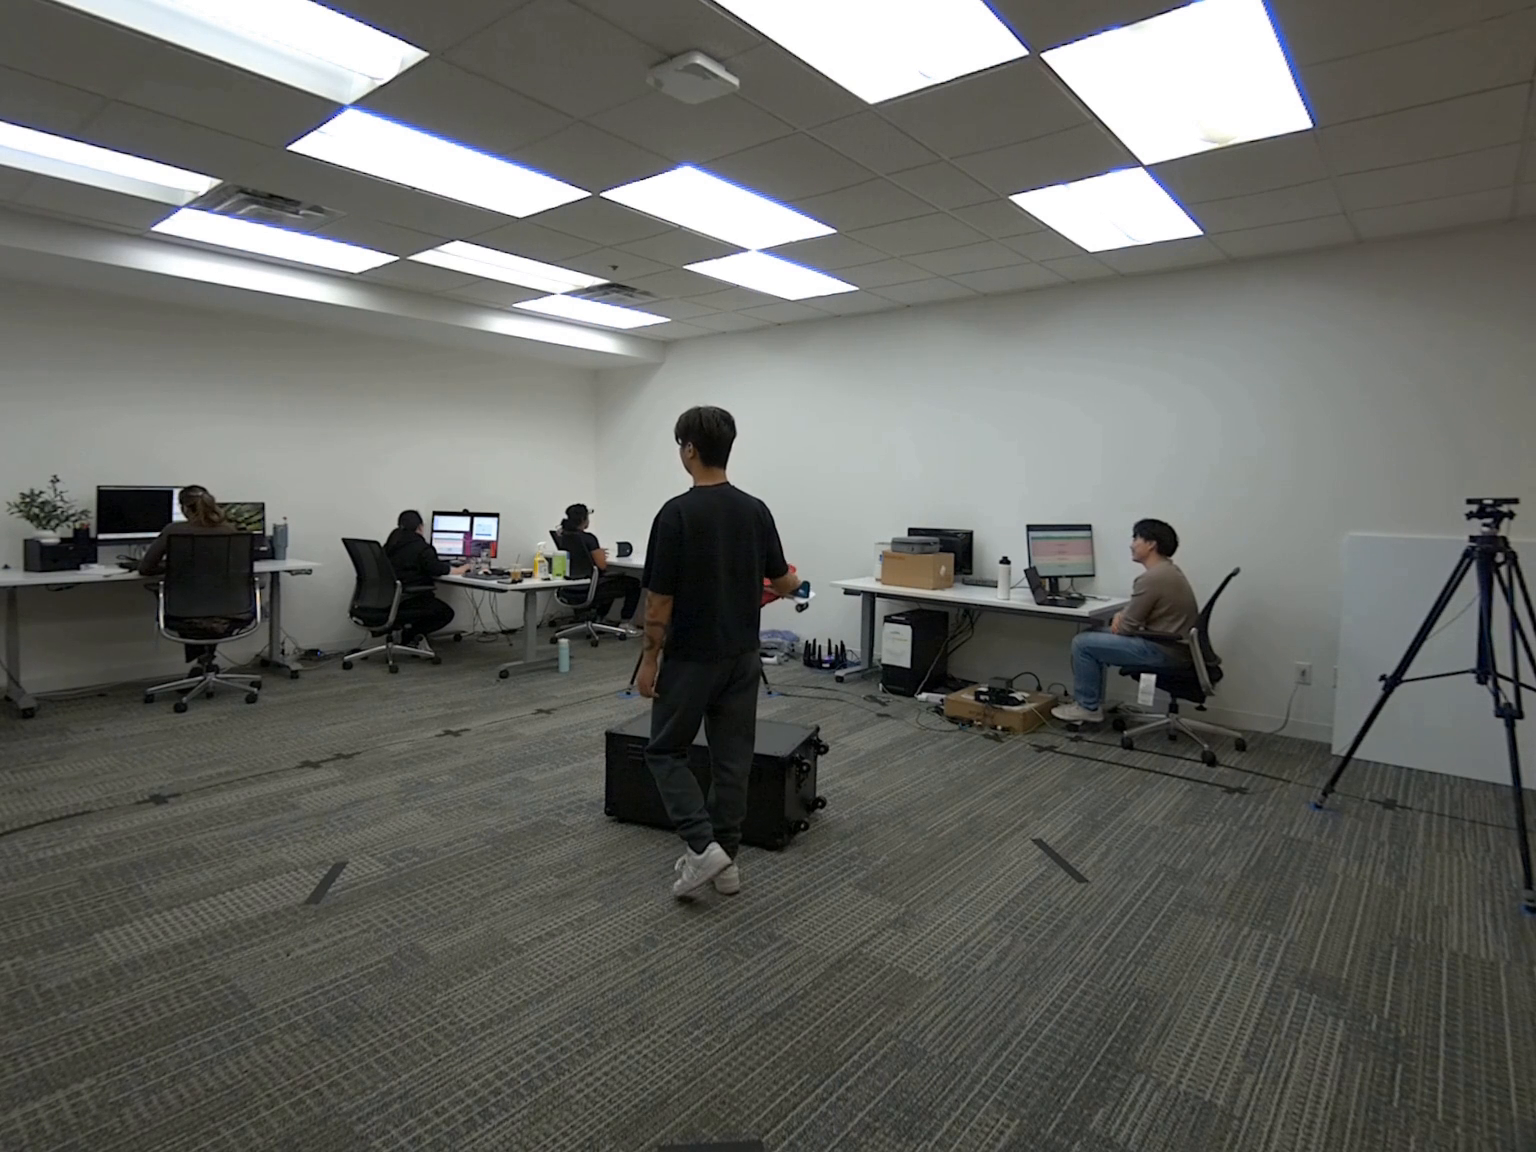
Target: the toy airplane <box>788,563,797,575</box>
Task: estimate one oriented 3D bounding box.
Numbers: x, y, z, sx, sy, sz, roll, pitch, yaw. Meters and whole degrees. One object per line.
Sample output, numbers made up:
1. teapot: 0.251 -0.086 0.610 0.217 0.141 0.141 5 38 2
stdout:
1. toy airplane: 0.050 0.034 3.429 0.261 0.154 0.253 -3 18 8
